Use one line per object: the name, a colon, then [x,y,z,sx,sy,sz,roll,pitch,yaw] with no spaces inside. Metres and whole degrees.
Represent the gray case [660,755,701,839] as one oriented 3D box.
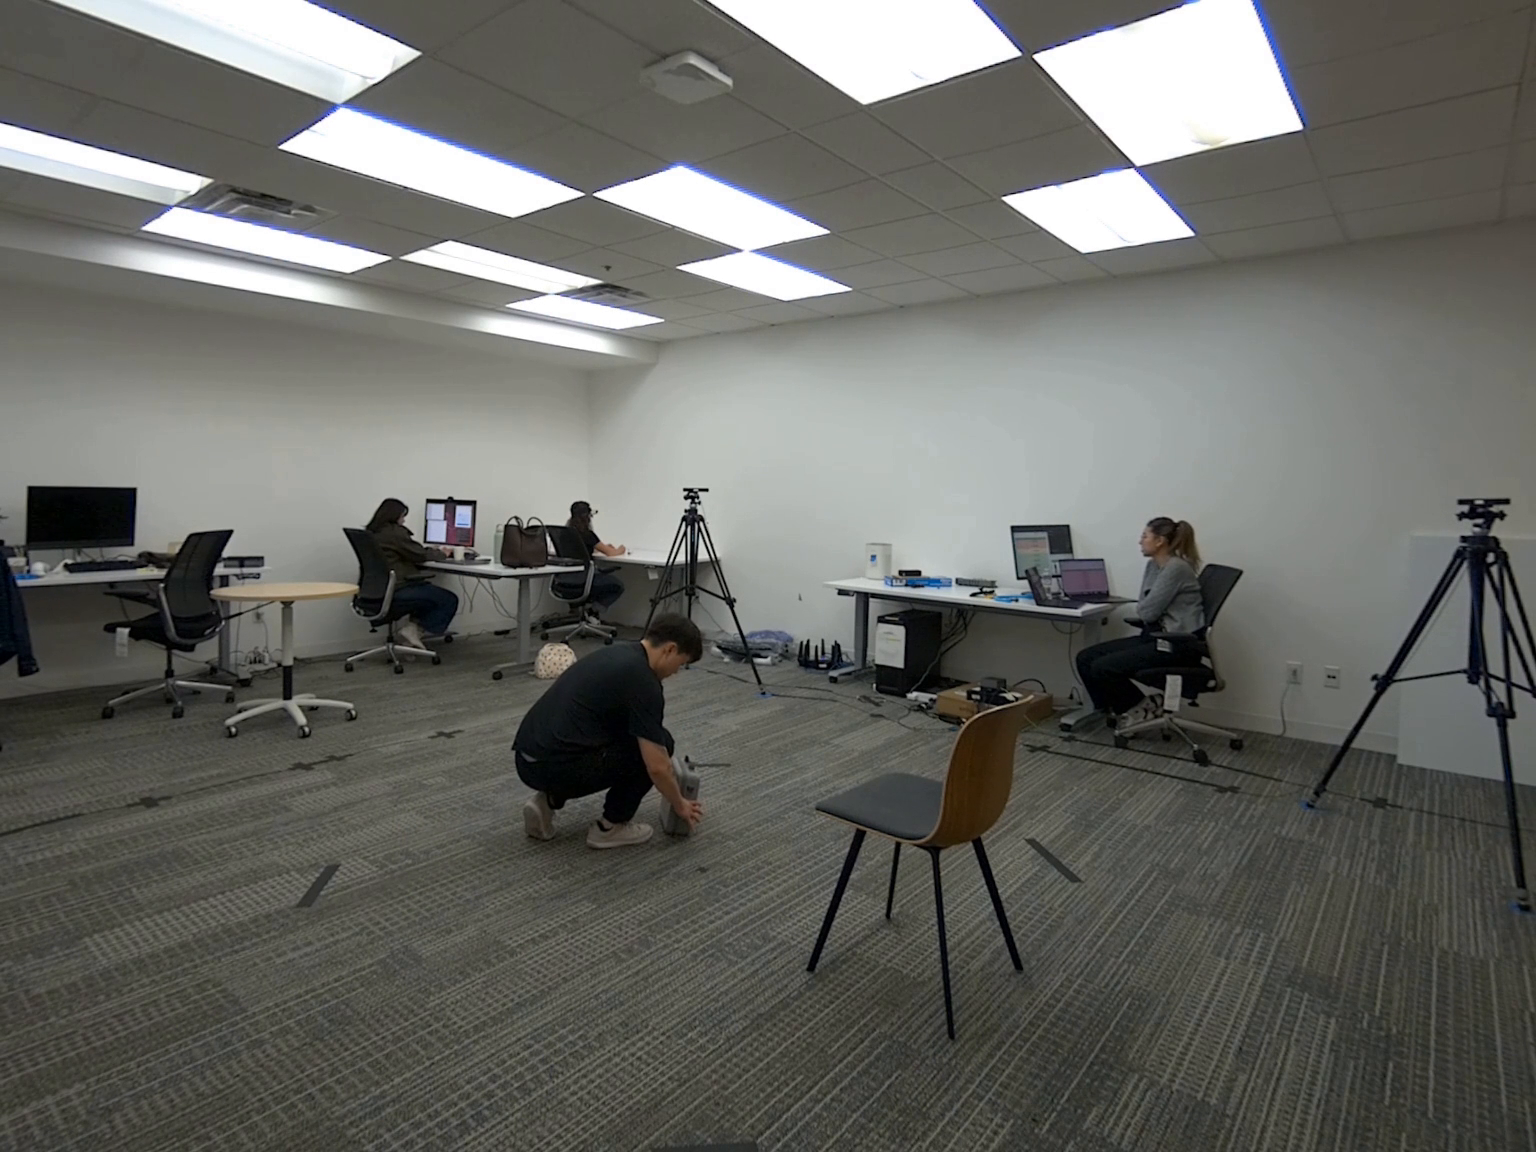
gray case: [-0.370,0.898,3.509,0.103,0.261,0.260,12,0,-13]
